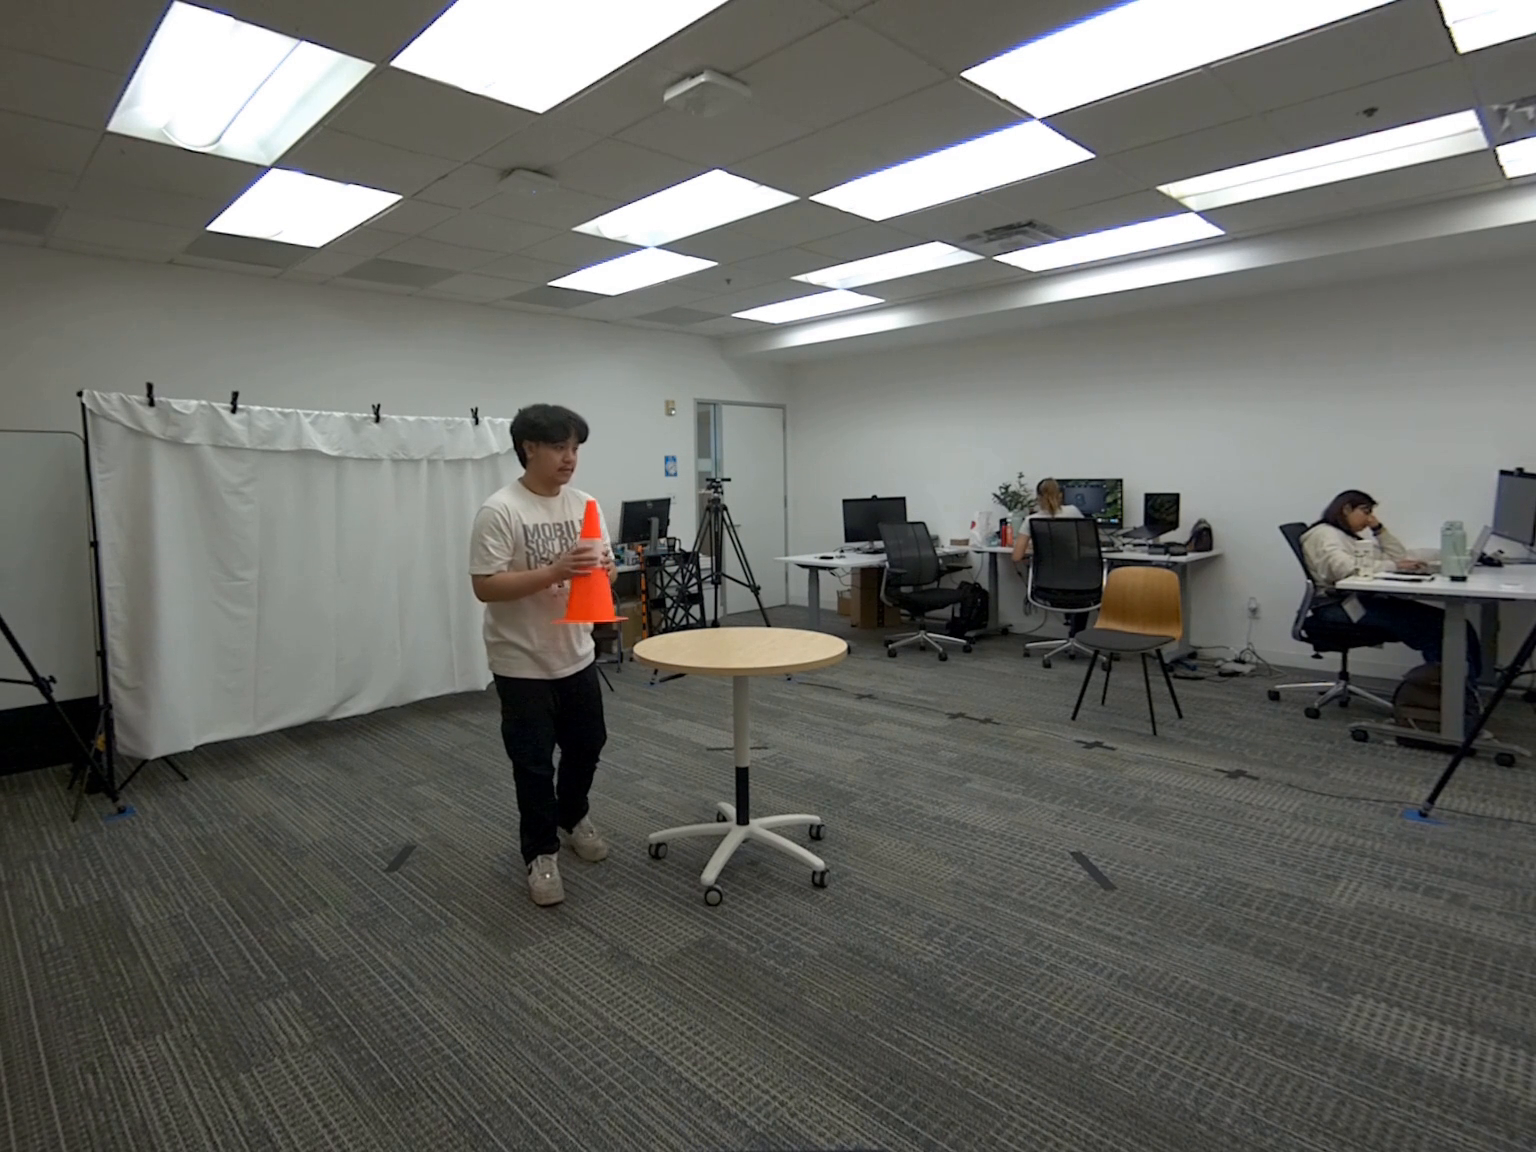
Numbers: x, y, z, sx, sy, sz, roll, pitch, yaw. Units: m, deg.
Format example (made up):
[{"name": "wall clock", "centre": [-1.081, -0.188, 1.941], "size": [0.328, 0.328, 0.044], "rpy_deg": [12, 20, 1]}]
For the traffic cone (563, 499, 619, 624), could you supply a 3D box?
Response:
[{"name": "traffic cone", "centre": [-0.579, -0.050, 2.725], "size": [0.208, 0.383, 0.200], "rpy_deg": [0, 2, 27]}]
